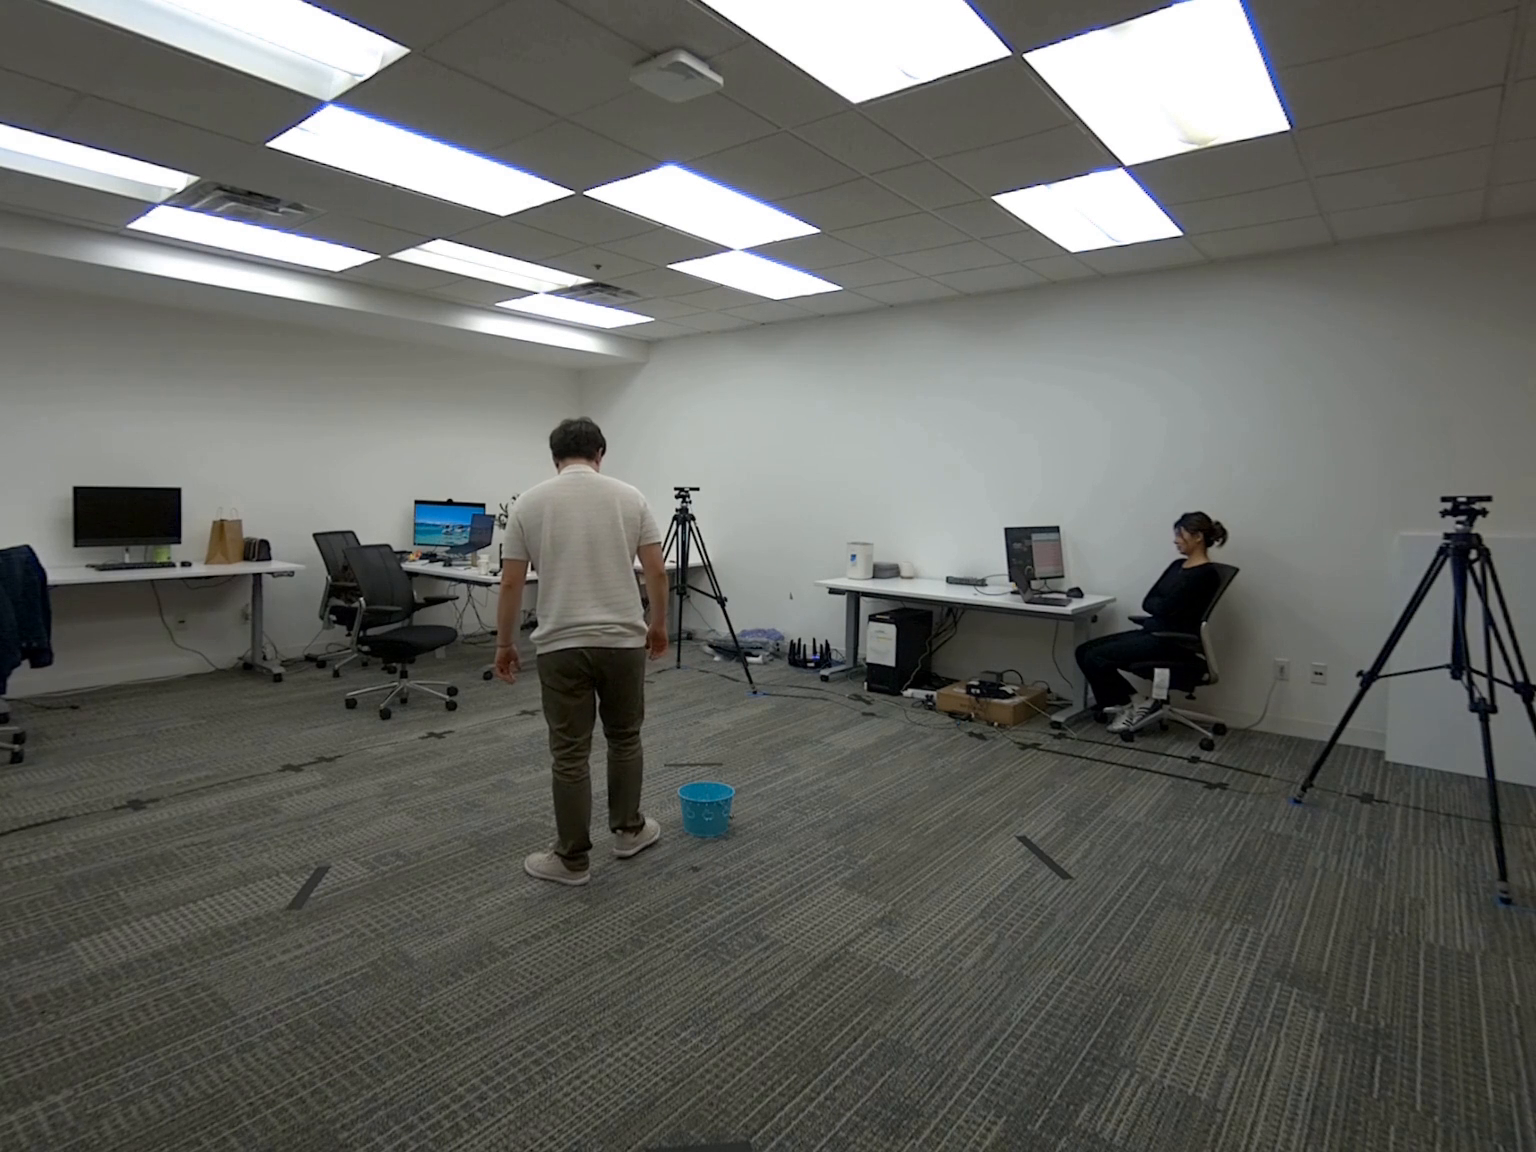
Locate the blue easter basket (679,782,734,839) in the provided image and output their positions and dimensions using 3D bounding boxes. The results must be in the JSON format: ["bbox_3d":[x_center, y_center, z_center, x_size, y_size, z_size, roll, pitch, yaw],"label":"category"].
[{"bbox_3d":[-0.260,0.952,3.483,0.243,0.155,0.245,1,5,-2],"label":"blue easter basket"}]
